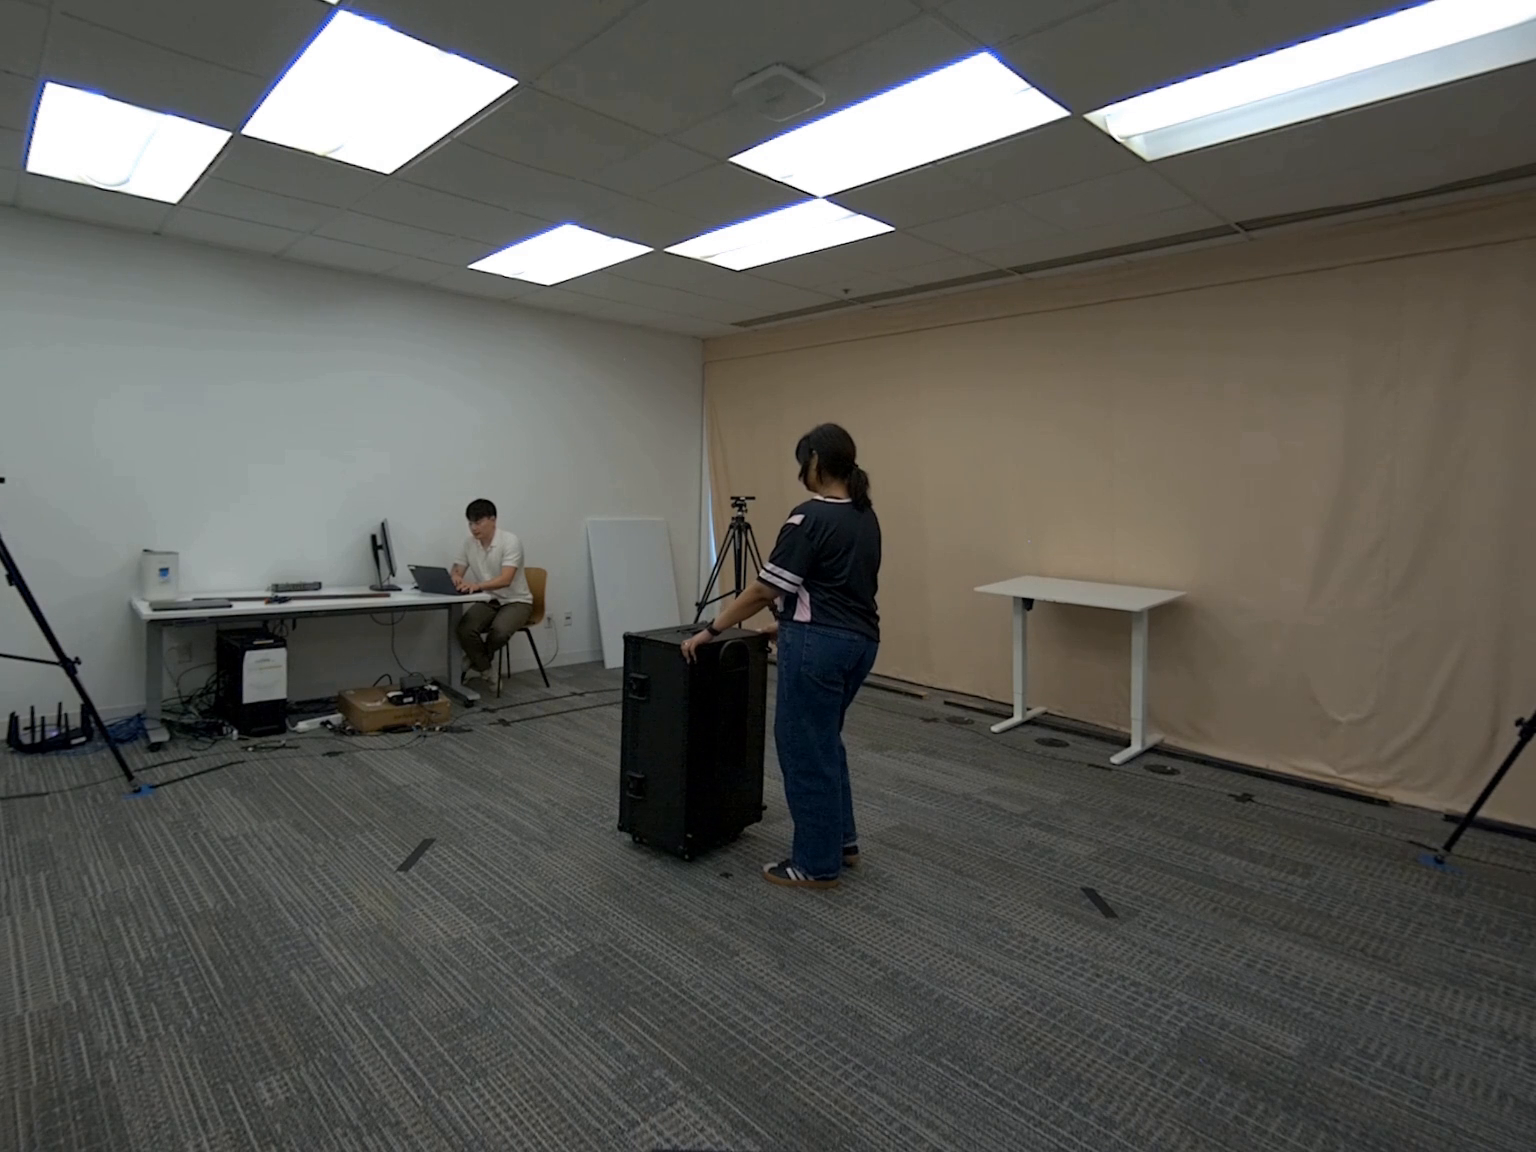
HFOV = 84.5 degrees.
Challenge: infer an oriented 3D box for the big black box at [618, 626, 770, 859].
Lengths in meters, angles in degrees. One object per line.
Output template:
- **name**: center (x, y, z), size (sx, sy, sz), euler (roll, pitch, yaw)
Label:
- **big black box**: center (-0.292, 0.654, 3.379), size (0.395, 0.866, 0.512), euler (5, 5, 37)
